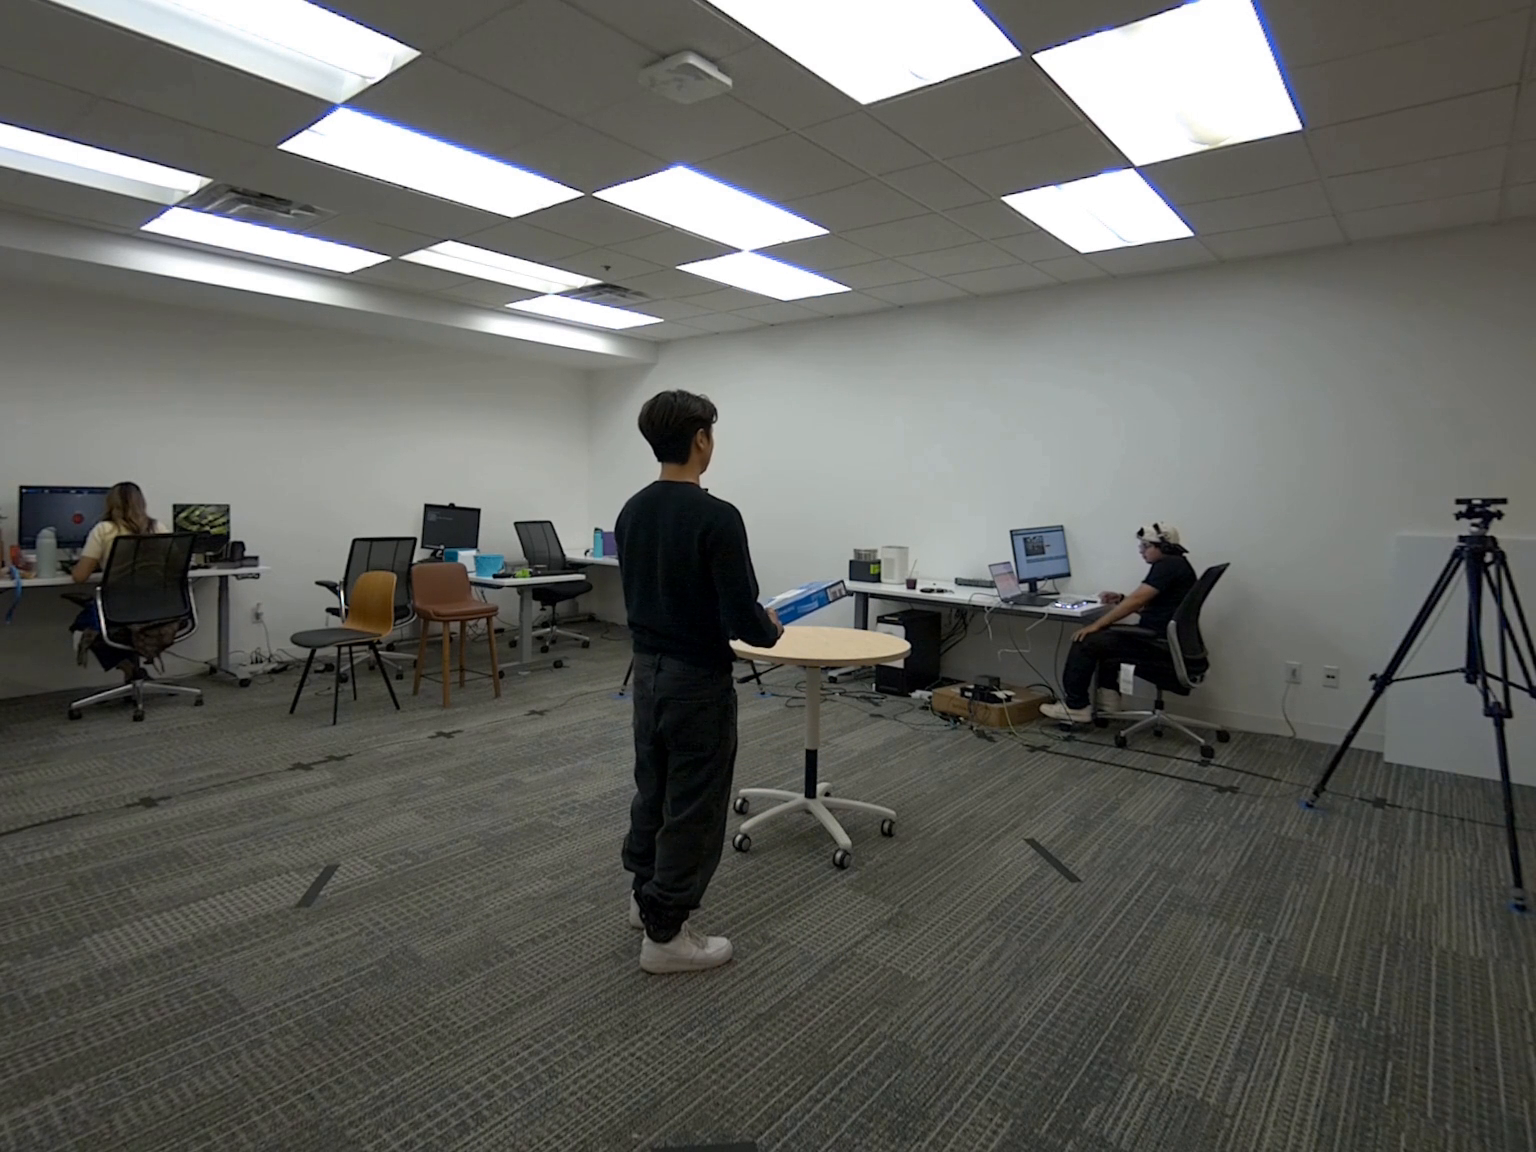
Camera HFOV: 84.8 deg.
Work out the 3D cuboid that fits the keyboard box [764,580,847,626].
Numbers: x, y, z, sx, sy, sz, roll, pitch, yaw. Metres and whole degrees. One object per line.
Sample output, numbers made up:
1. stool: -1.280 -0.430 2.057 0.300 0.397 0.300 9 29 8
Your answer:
1. keyboard box: 0.064 0.101 2.786 0.181 0.059 0.428 -7 10 45
